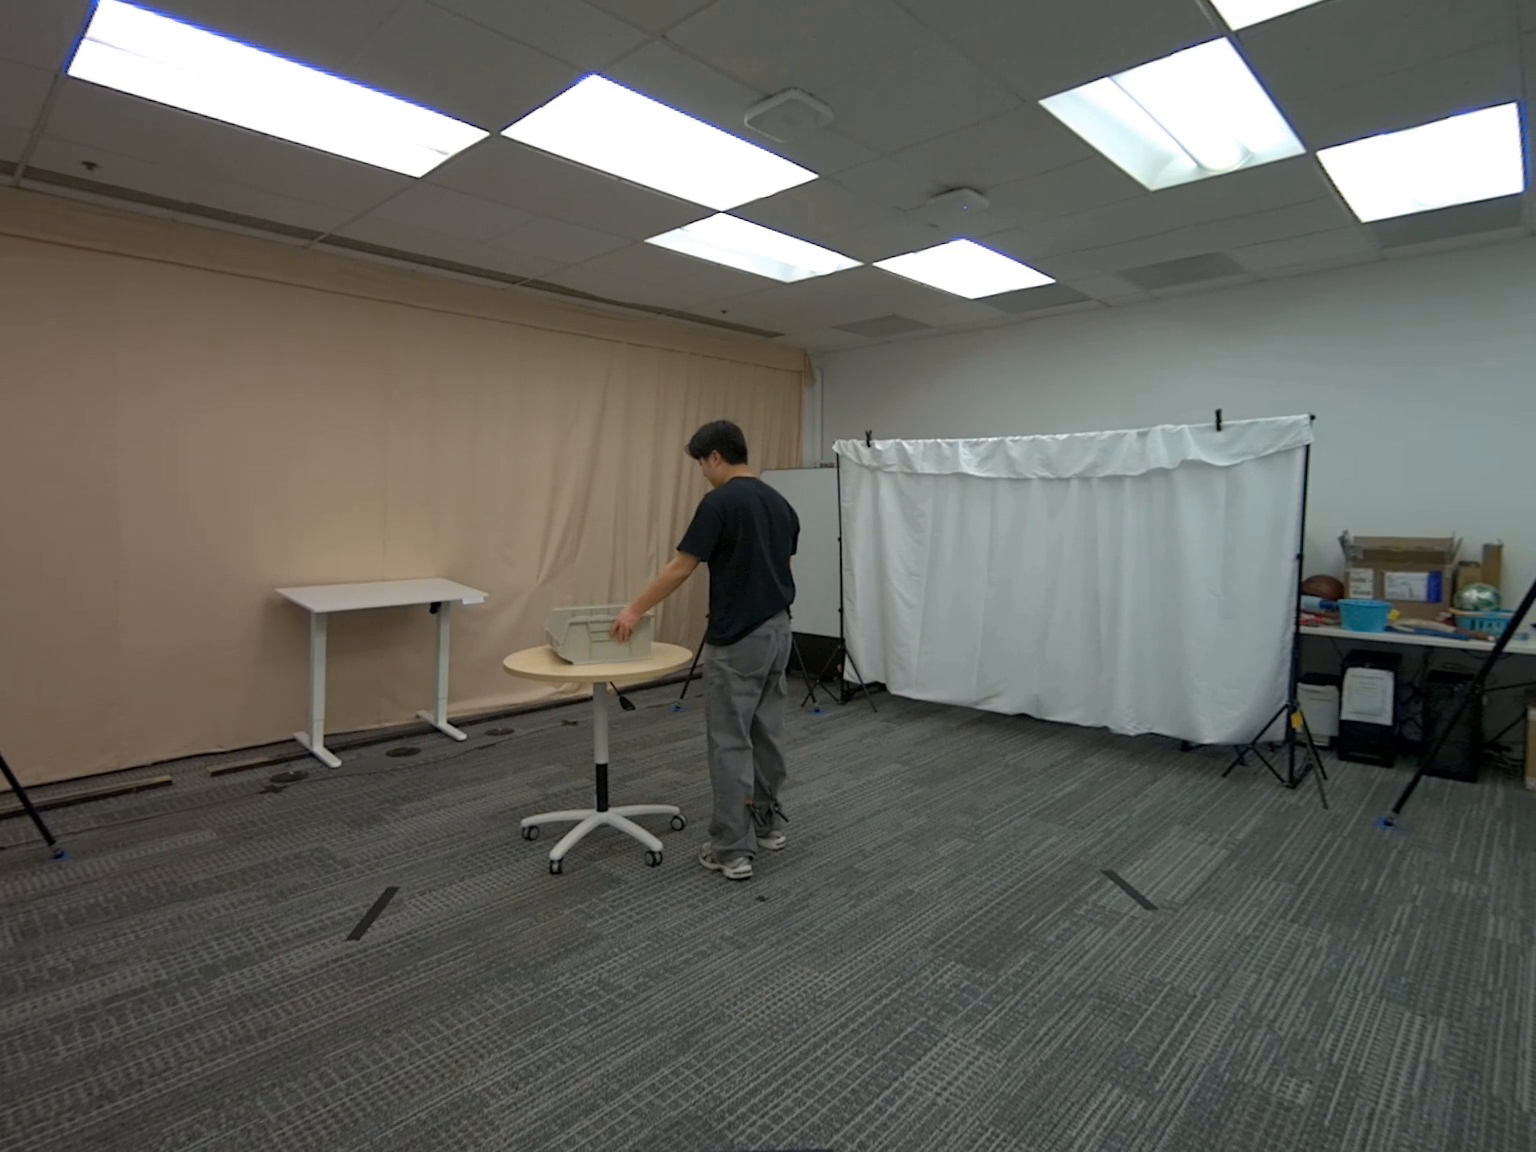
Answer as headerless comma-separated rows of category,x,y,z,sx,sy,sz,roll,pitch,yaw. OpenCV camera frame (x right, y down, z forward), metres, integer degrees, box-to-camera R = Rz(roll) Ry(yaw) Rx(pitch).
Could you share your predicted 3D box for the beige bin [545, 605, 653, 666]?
beige bin,-0.711,0.238,3.503,0.369,0.188,0.432,-1,4,-22
